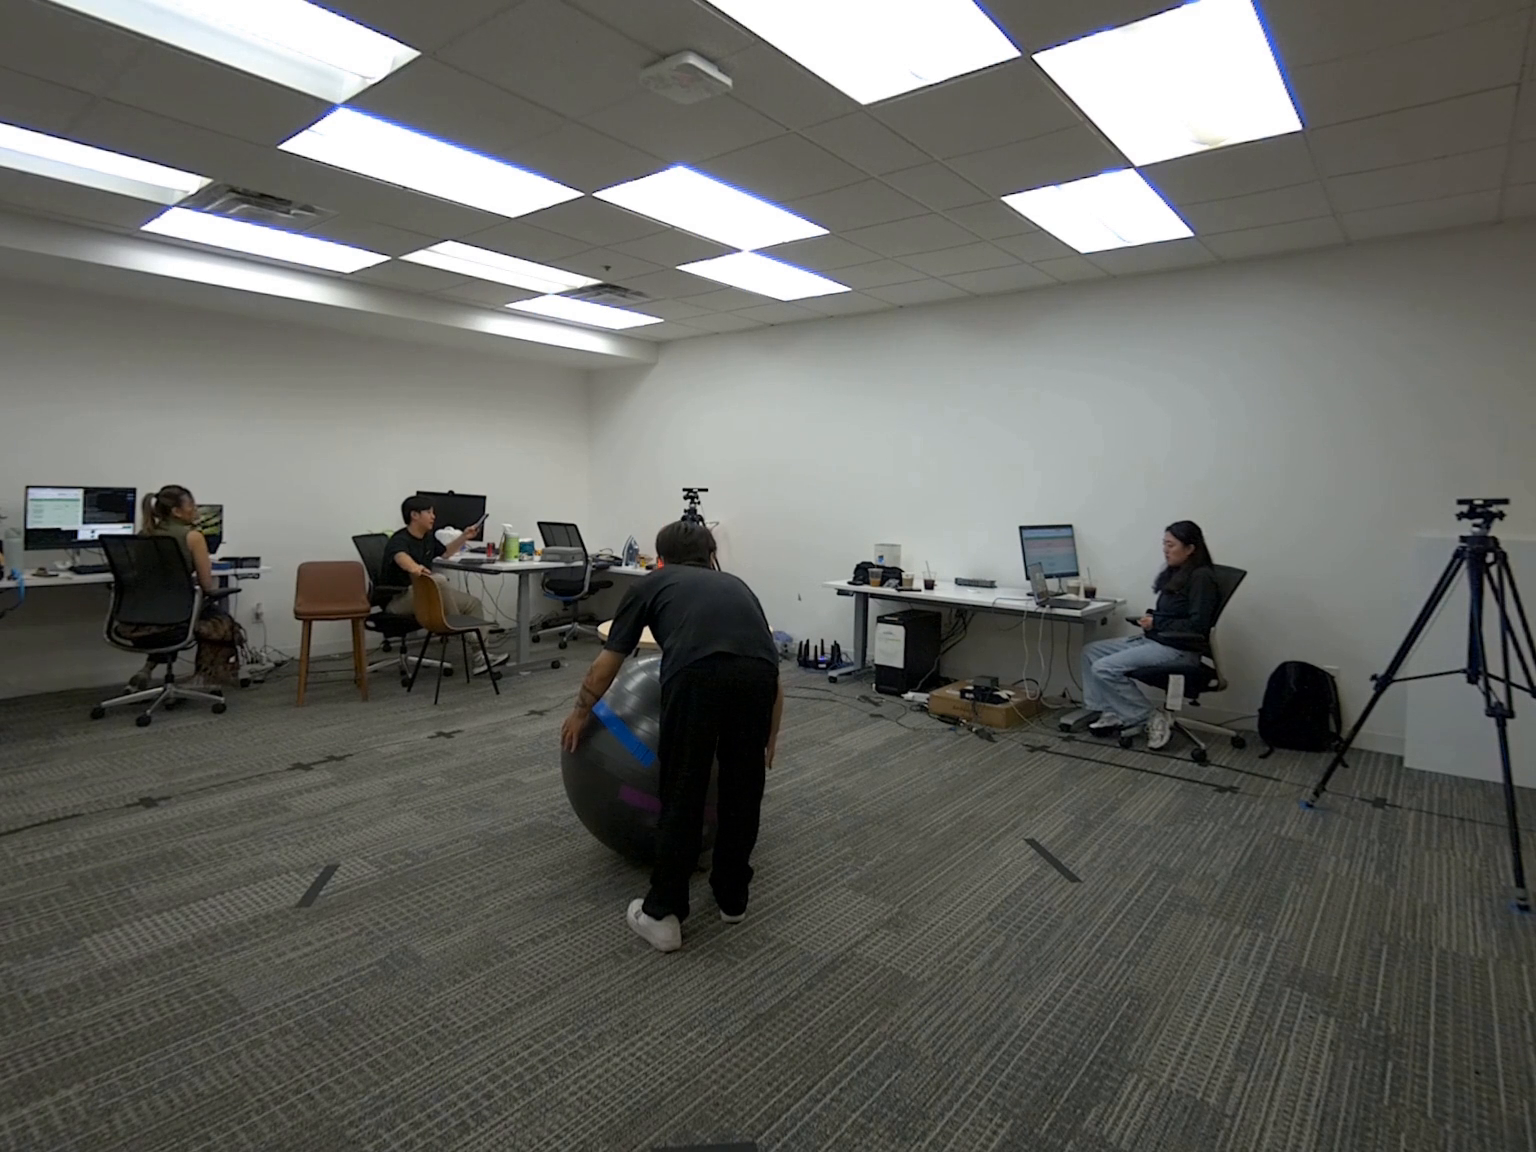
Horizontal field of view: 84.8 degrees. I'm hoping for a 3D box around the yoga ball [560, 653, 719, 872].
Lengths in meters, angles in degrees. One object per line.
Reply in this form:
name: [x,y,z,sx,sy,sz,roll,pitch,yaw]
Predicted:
yoga ball: [-0.409,0.686,3.223,0.757,0.755,0.762,1,4,-2]
